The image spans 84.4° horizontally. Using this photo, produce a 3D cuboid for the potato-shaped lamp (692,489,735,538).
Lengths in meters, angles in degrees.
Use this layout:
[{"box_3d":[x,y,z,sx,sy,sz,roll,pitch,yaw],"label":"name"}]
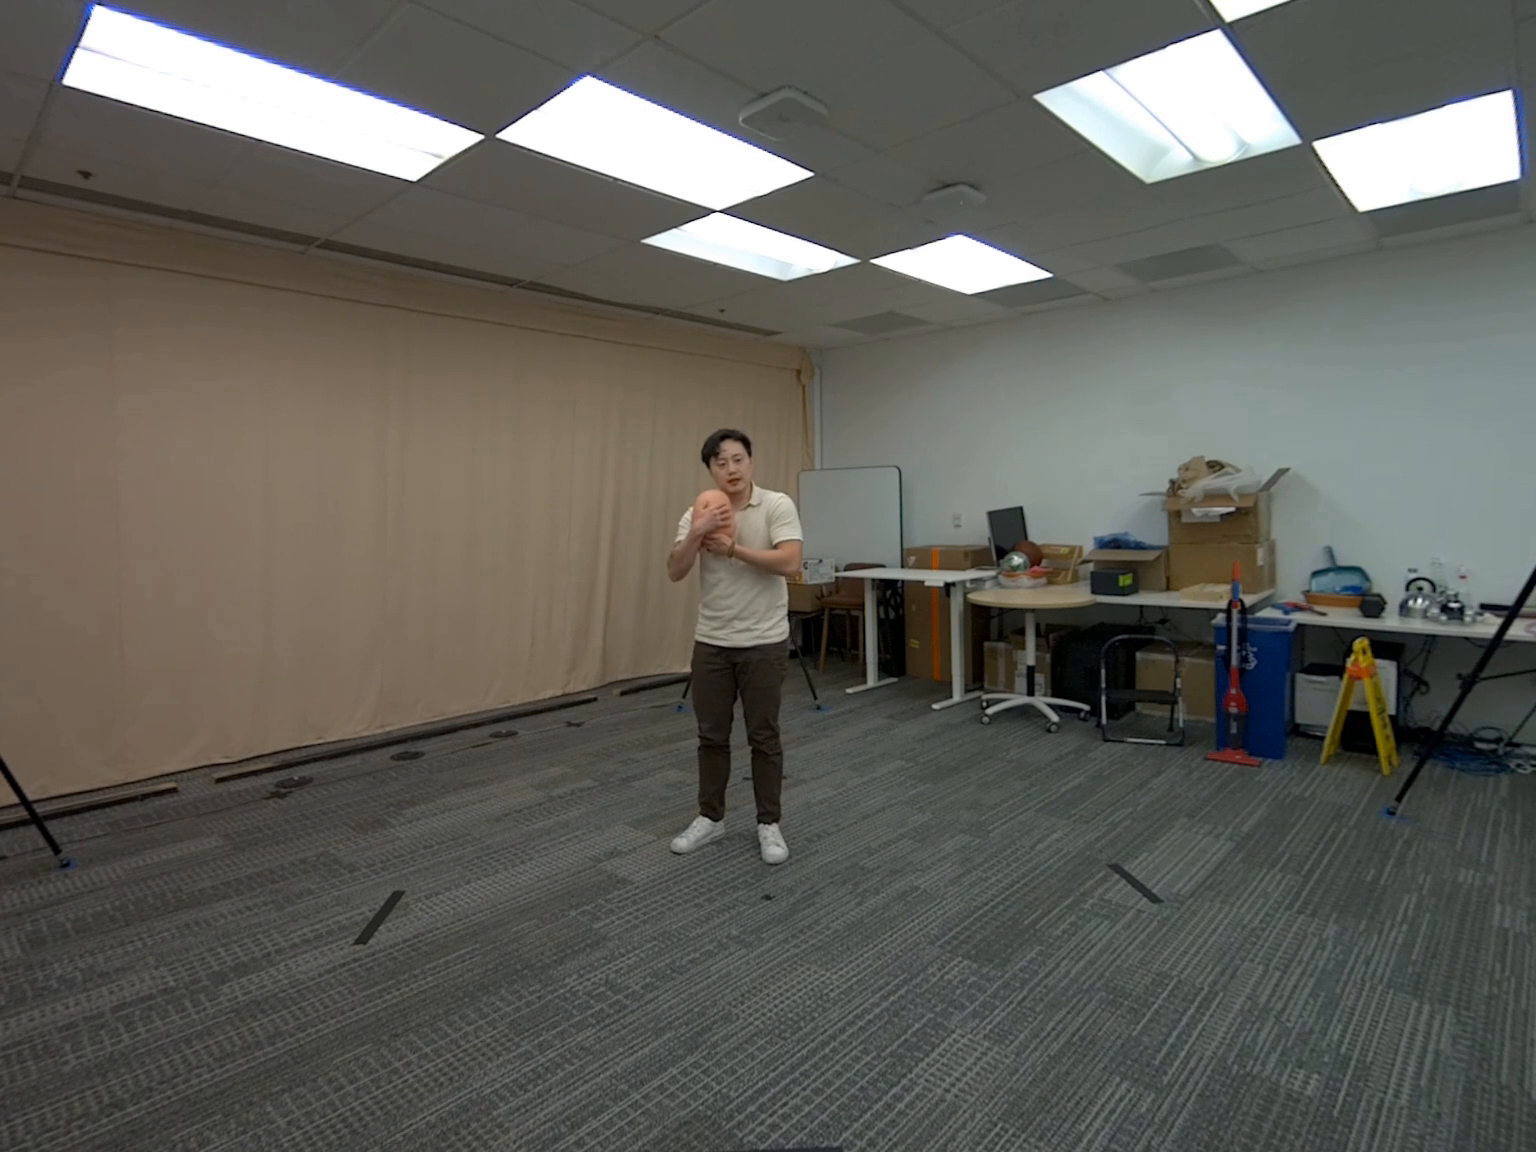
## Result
[{"box_3d":[-0.207,-0.225,3.251,0.169,0.199,0.166,-3,-10,28],"label":"potato-shaped lamp"}]
